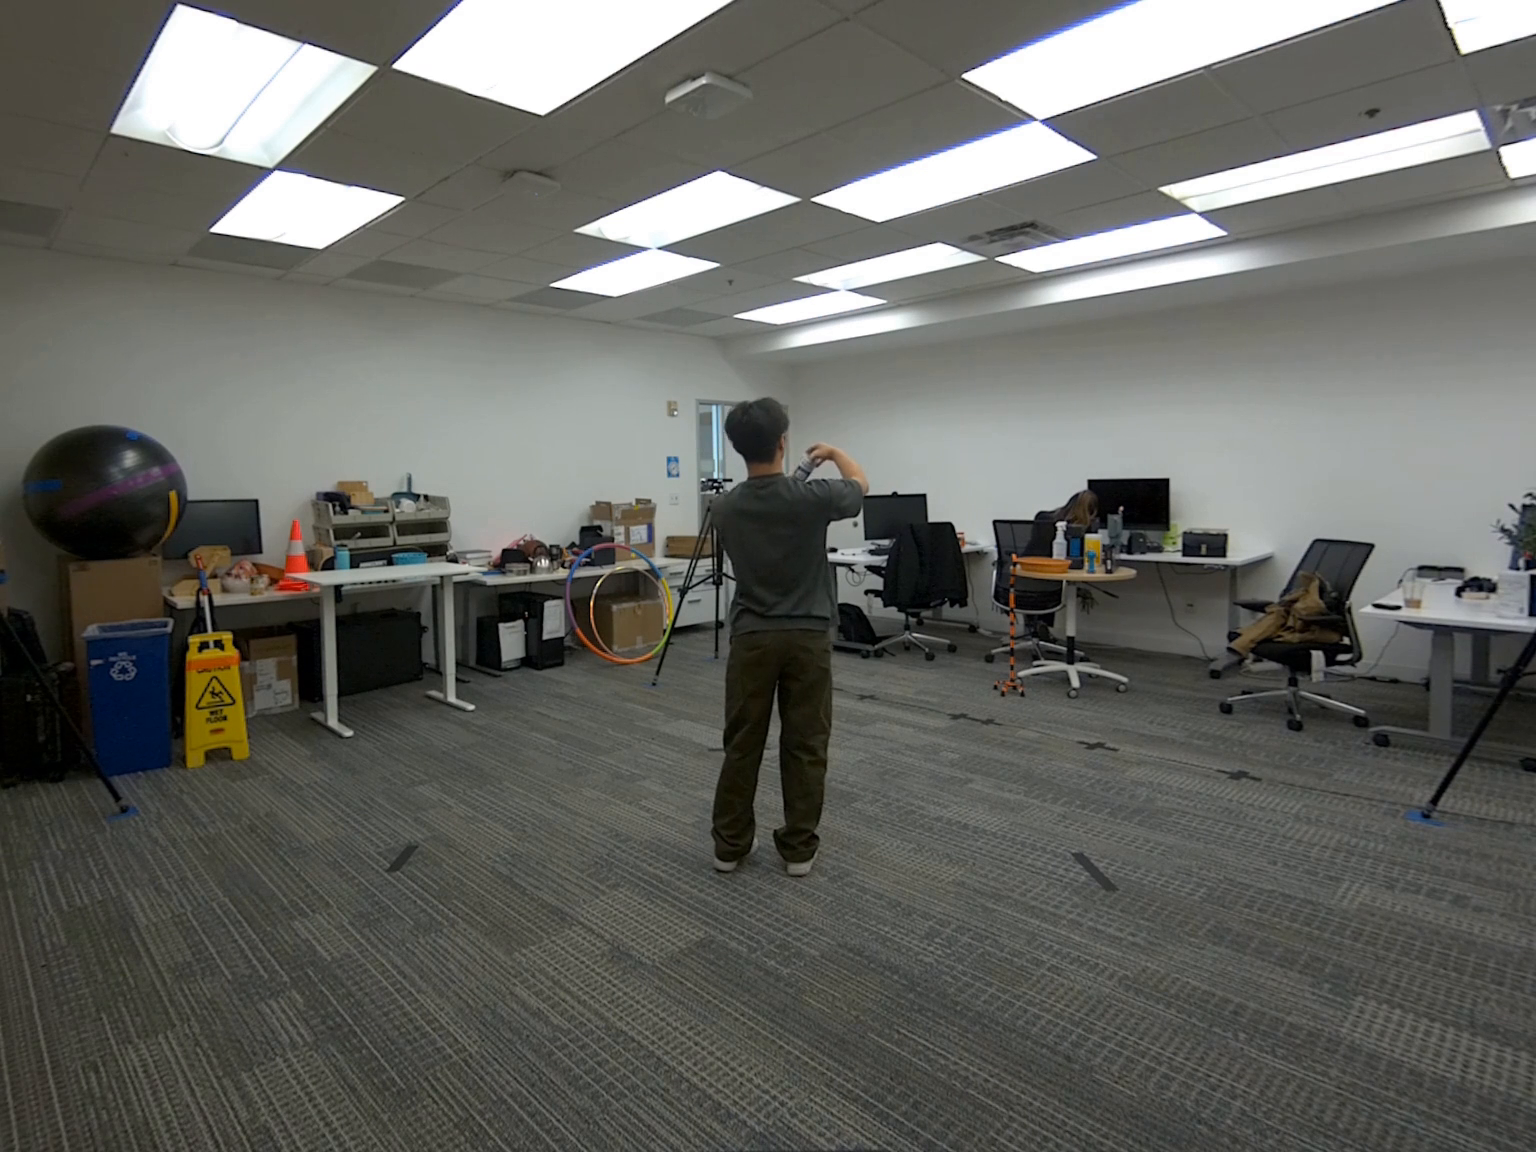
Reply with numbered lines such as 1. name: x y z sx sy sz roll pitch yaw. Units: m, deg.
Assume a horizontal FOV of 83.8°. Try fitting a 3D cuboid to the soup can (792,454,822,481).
1. soup can: 0.160 -0.439 3.447 0.066 0.121 0.068 24 20 -11
